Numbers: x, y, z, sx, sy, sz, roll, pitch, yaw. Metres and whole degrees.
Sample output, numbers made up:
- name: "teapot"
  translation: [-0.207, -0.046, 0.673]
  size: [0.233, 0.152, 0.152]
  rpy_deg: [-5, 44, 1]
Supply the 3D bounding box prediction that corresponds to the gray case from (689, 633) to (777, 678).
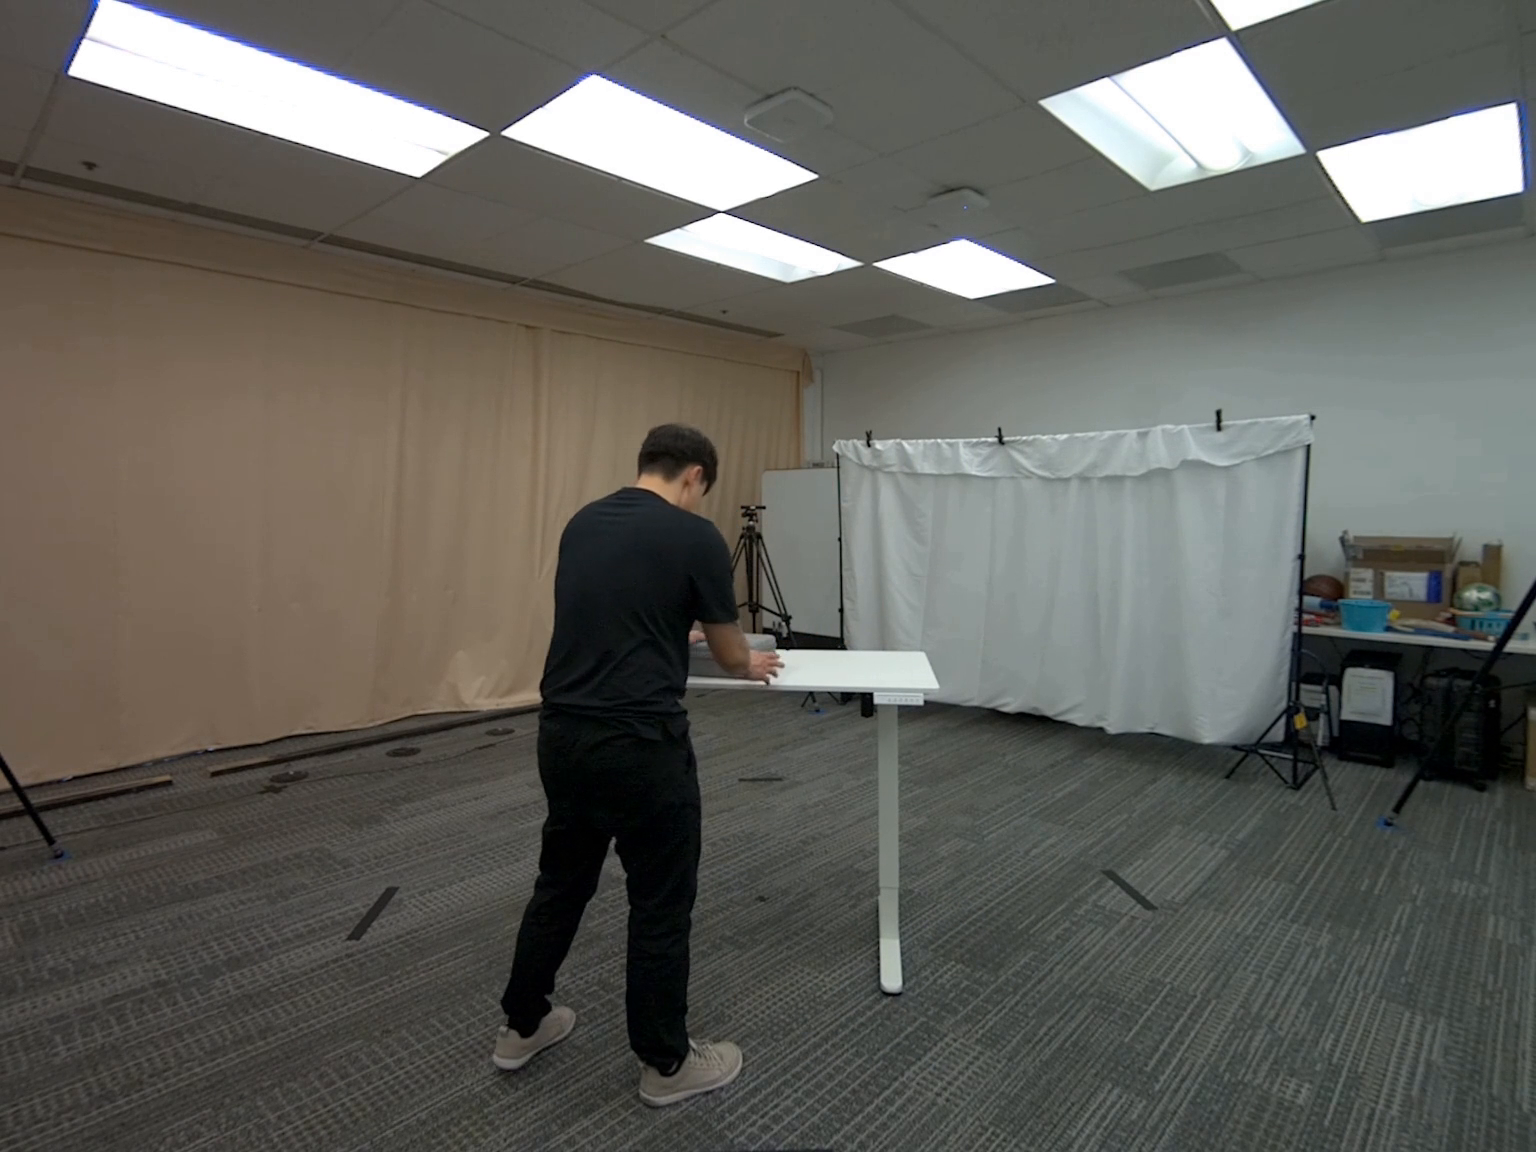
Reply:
- name: "gray case"
  translation: [-0.111, 0.245, 2.610]
  size: [0.262, 0.104, 0.256]
  rpy_deg: [0, 4, 18]
